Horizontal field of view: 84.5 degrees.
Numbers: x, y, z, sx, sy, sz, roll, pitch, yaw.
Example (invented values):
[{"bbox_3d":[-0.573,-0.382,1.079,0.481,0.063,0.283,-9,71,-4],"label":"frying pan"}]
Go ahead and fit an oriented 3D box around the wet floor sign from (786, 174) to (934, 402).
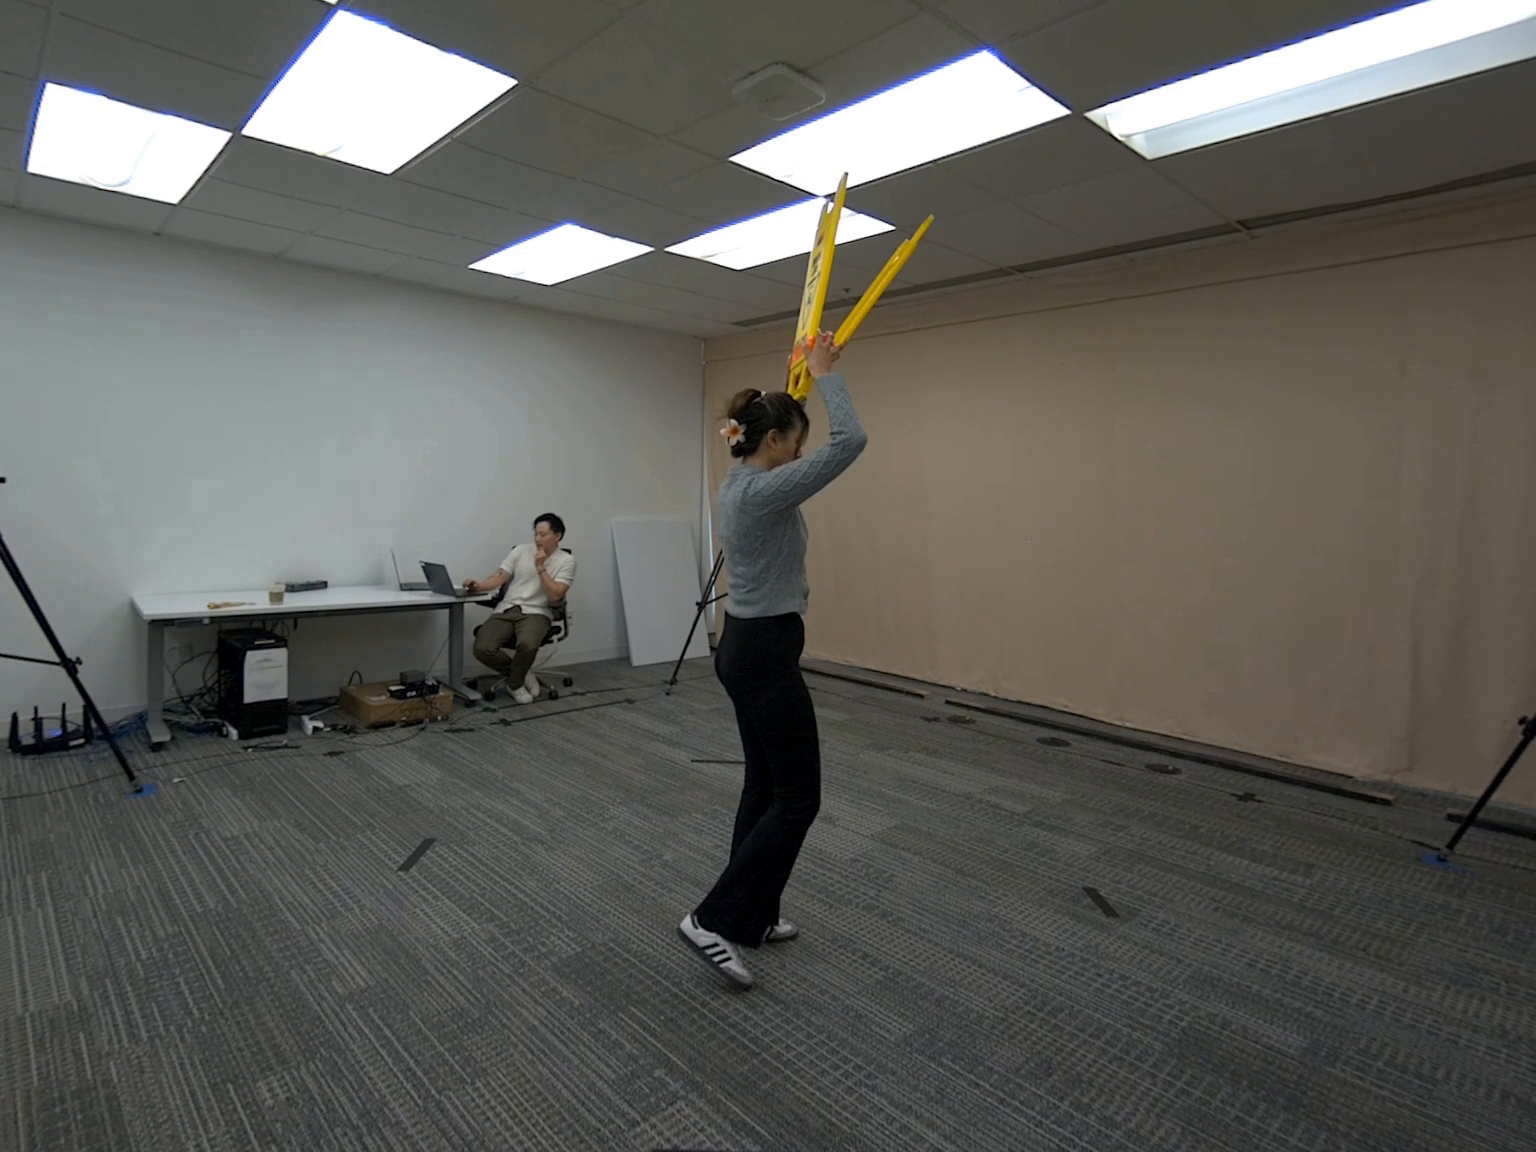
[{"bbox_3d":[0.196,-0.822,2.557,0.287,0.646,0.284,24,-2,-9],"label":"wet floor sign"}]
